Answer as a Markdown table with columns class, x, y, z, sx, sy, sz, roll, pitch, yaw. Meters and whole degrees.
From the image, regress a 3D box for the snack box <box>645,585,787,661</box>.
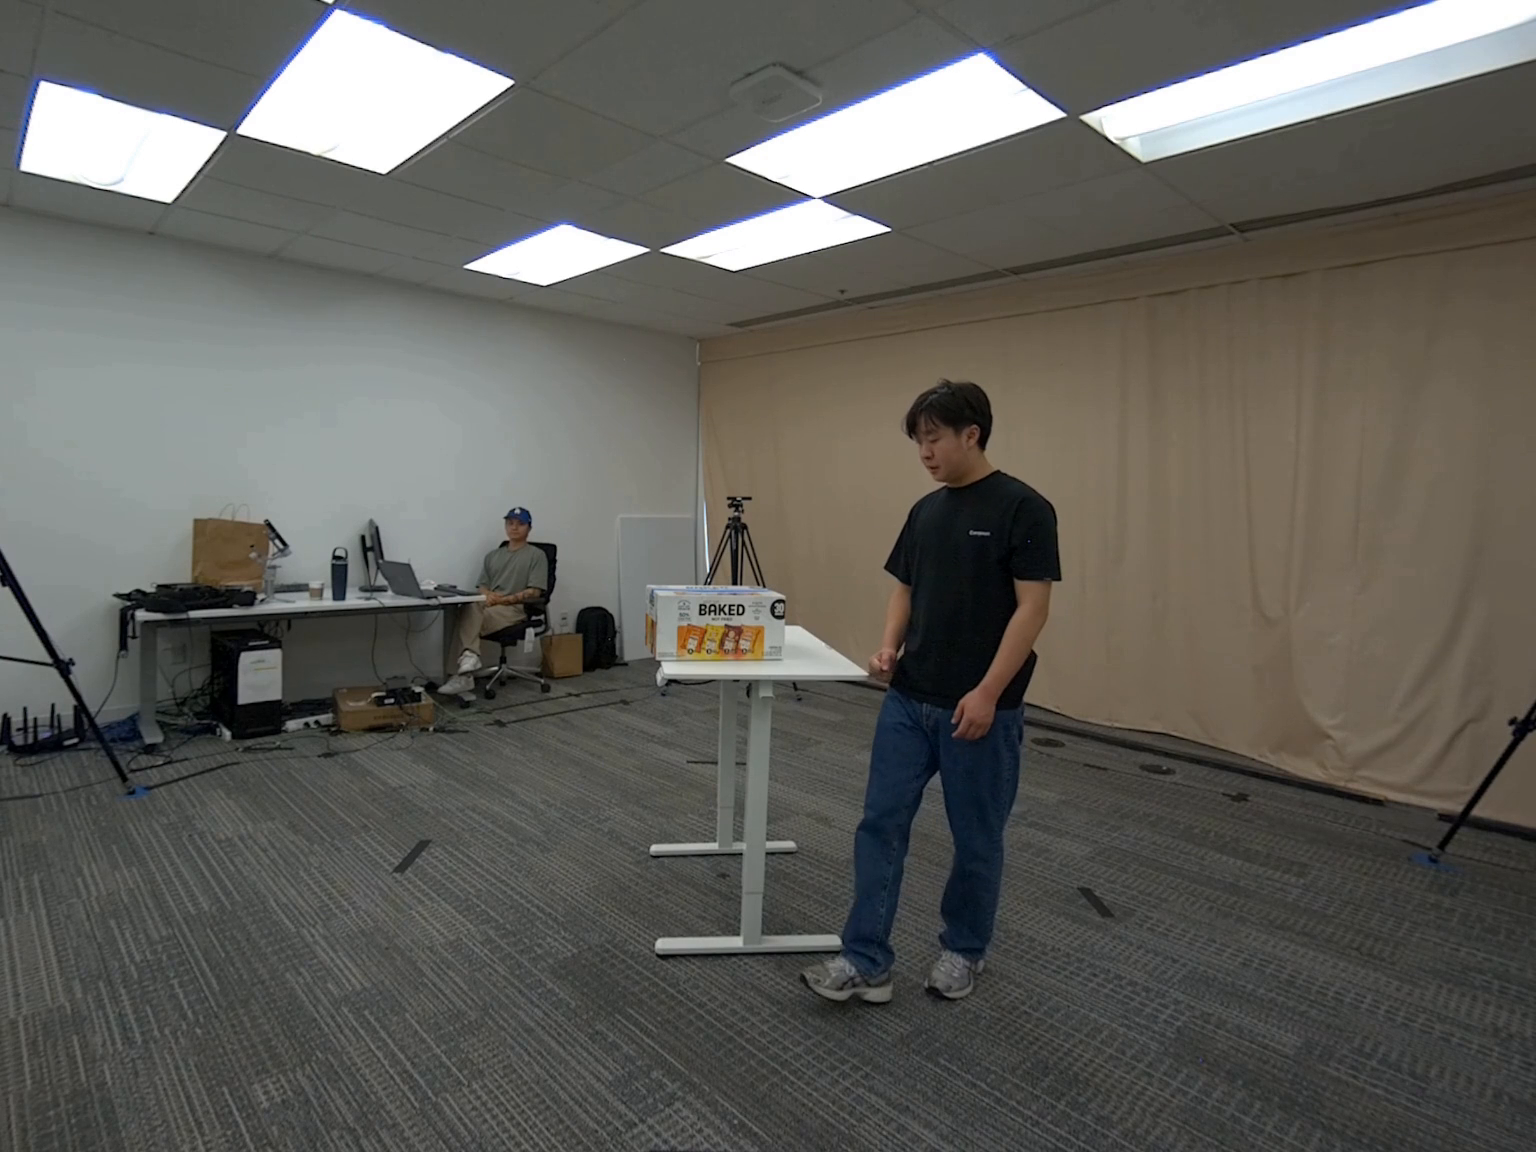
| class | x | y | z | sx | sy | sz | roll | pitch | yaw |
| --- | --- | --- | --- | --- | --- | --- | --- | --- | --- |
| snack box | -0.186 | 0.150 | 2.763 | 0.401 | 0.205 | 0.344 | 1 | 4 | -13 |
